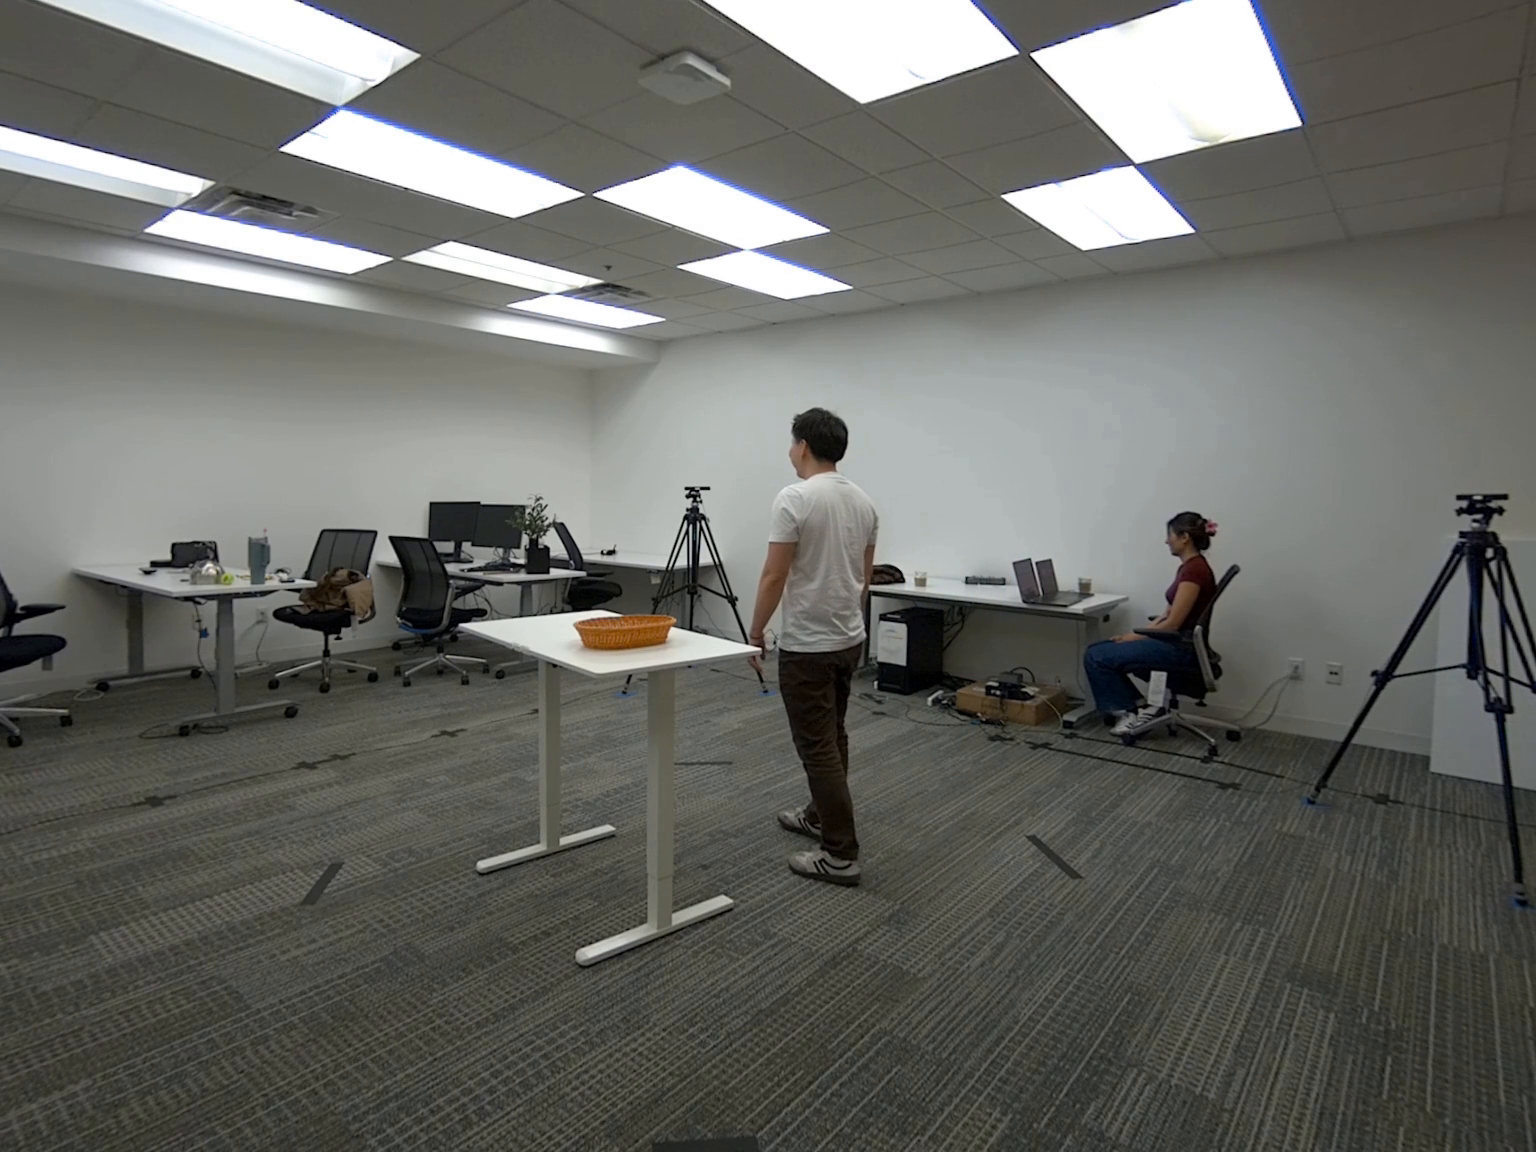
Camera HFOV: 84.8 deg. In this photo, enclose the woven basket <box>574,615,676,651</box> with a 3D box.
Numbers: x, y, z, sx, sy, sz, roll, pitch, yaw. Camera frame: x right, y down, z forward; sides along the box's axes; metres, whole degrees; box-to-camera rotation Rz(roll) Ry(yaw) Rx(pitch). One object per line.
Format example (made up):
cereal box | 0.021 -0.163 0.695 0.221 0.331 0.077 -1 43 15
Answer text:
woven basket | -0.487 0.187 2.758 0.340 0.073 0.261 -4 7 -38
